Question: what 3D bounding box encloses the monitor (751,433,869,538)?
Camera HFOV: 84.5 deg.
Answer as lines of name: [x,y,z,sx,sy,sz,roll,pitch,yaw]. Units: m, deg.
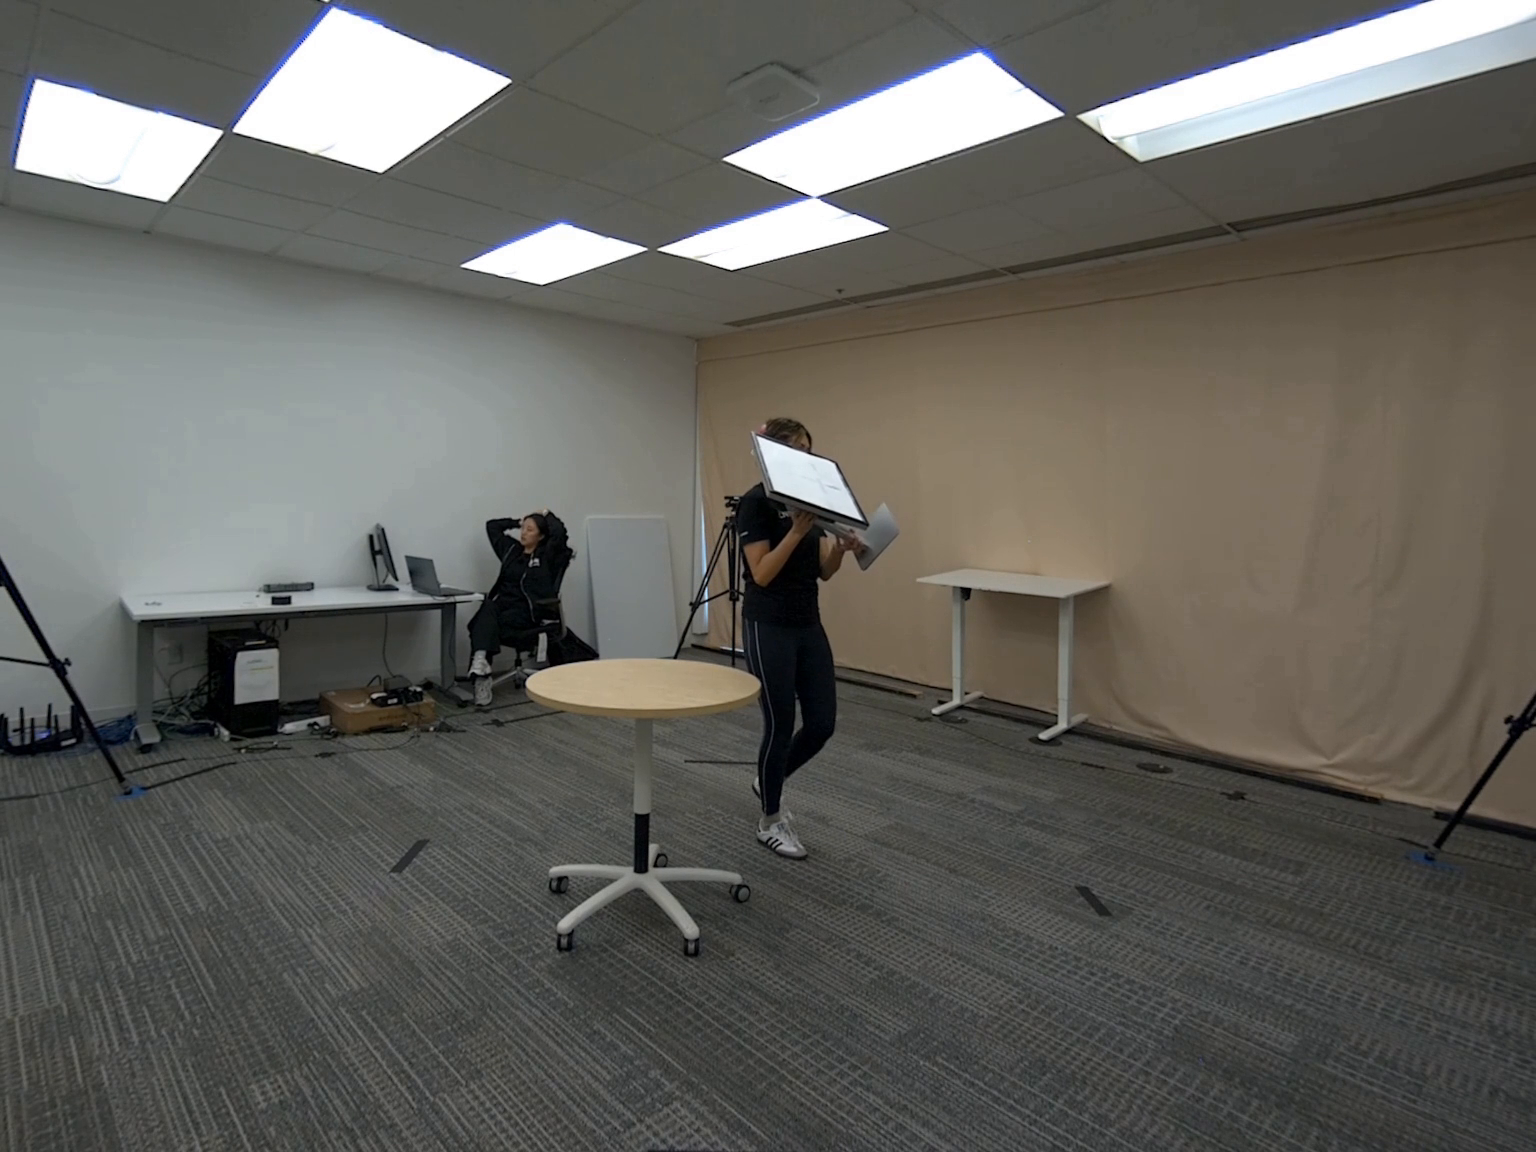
monitor: [0.178,-0.276,3.015,0.512,0.187,0.551,31,19,-20]
